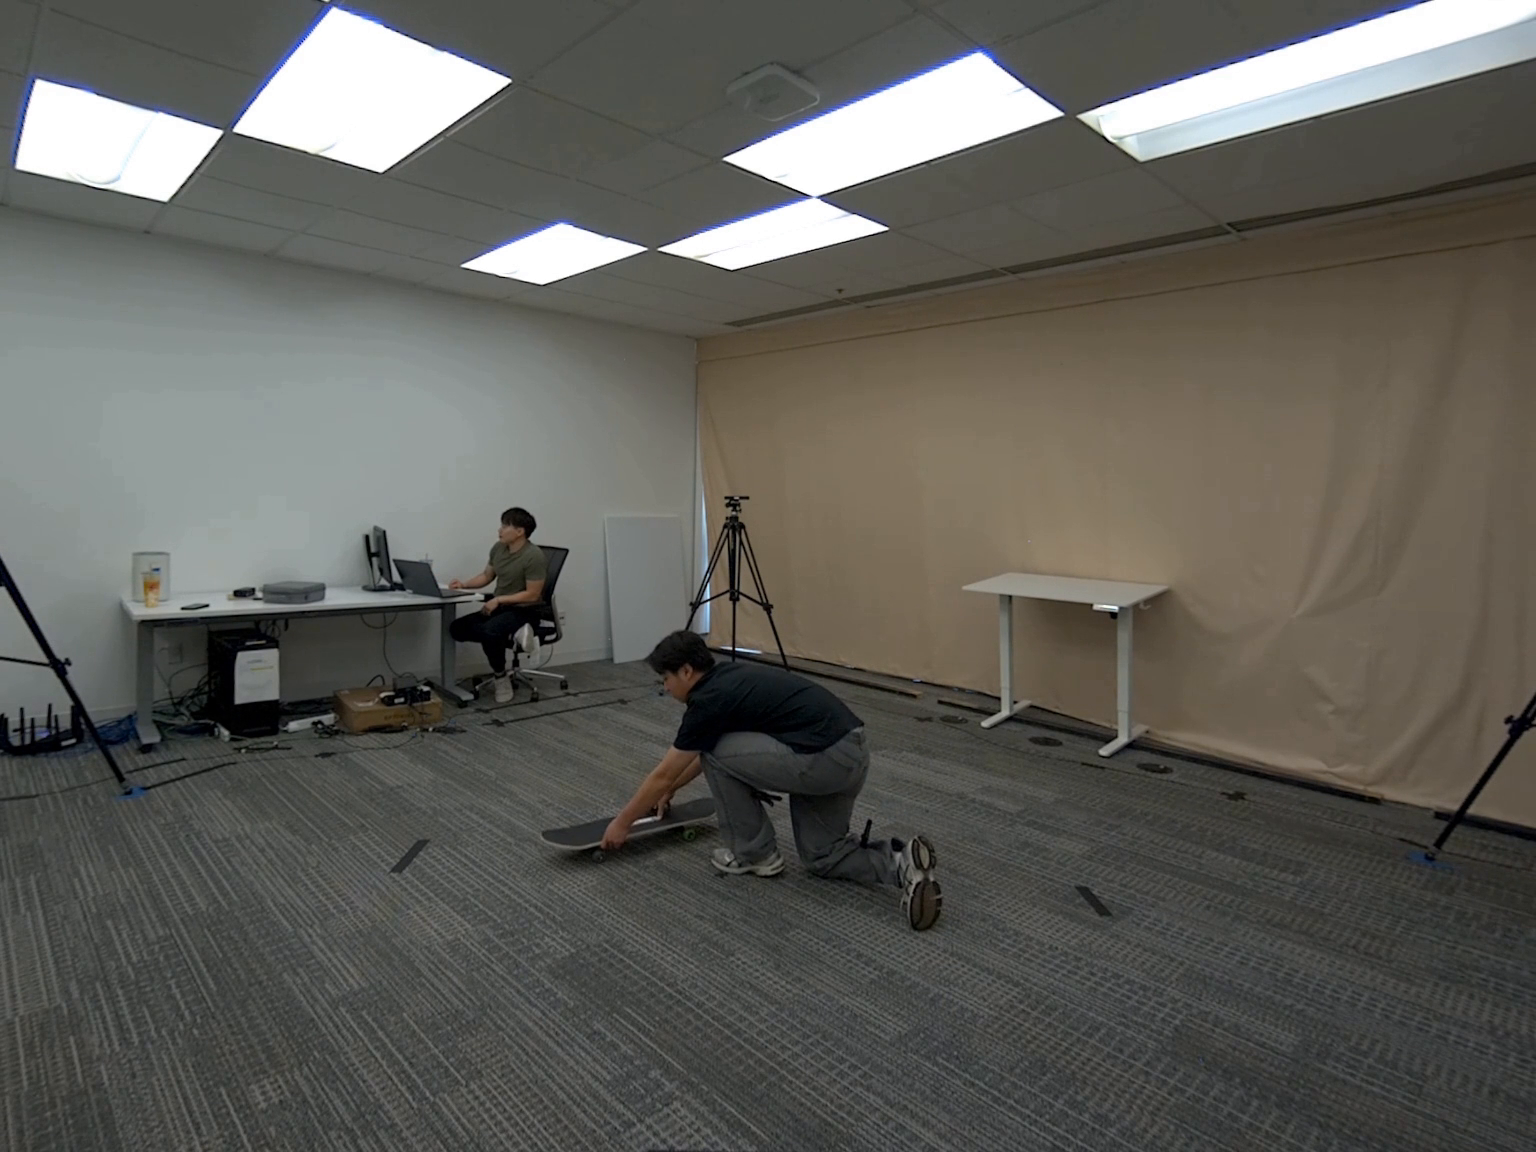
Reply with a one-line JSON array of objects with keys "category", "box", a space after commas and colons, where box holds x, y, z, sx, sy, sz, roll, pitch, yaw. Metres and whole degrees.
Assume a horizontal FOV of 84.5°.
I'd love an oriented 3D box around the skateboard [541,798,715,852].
[{"category": "skateboard", "box": [-0.531, 1.013, 3.358, 0.769, 0.110, 0.198, -3, 6, -35]}]
